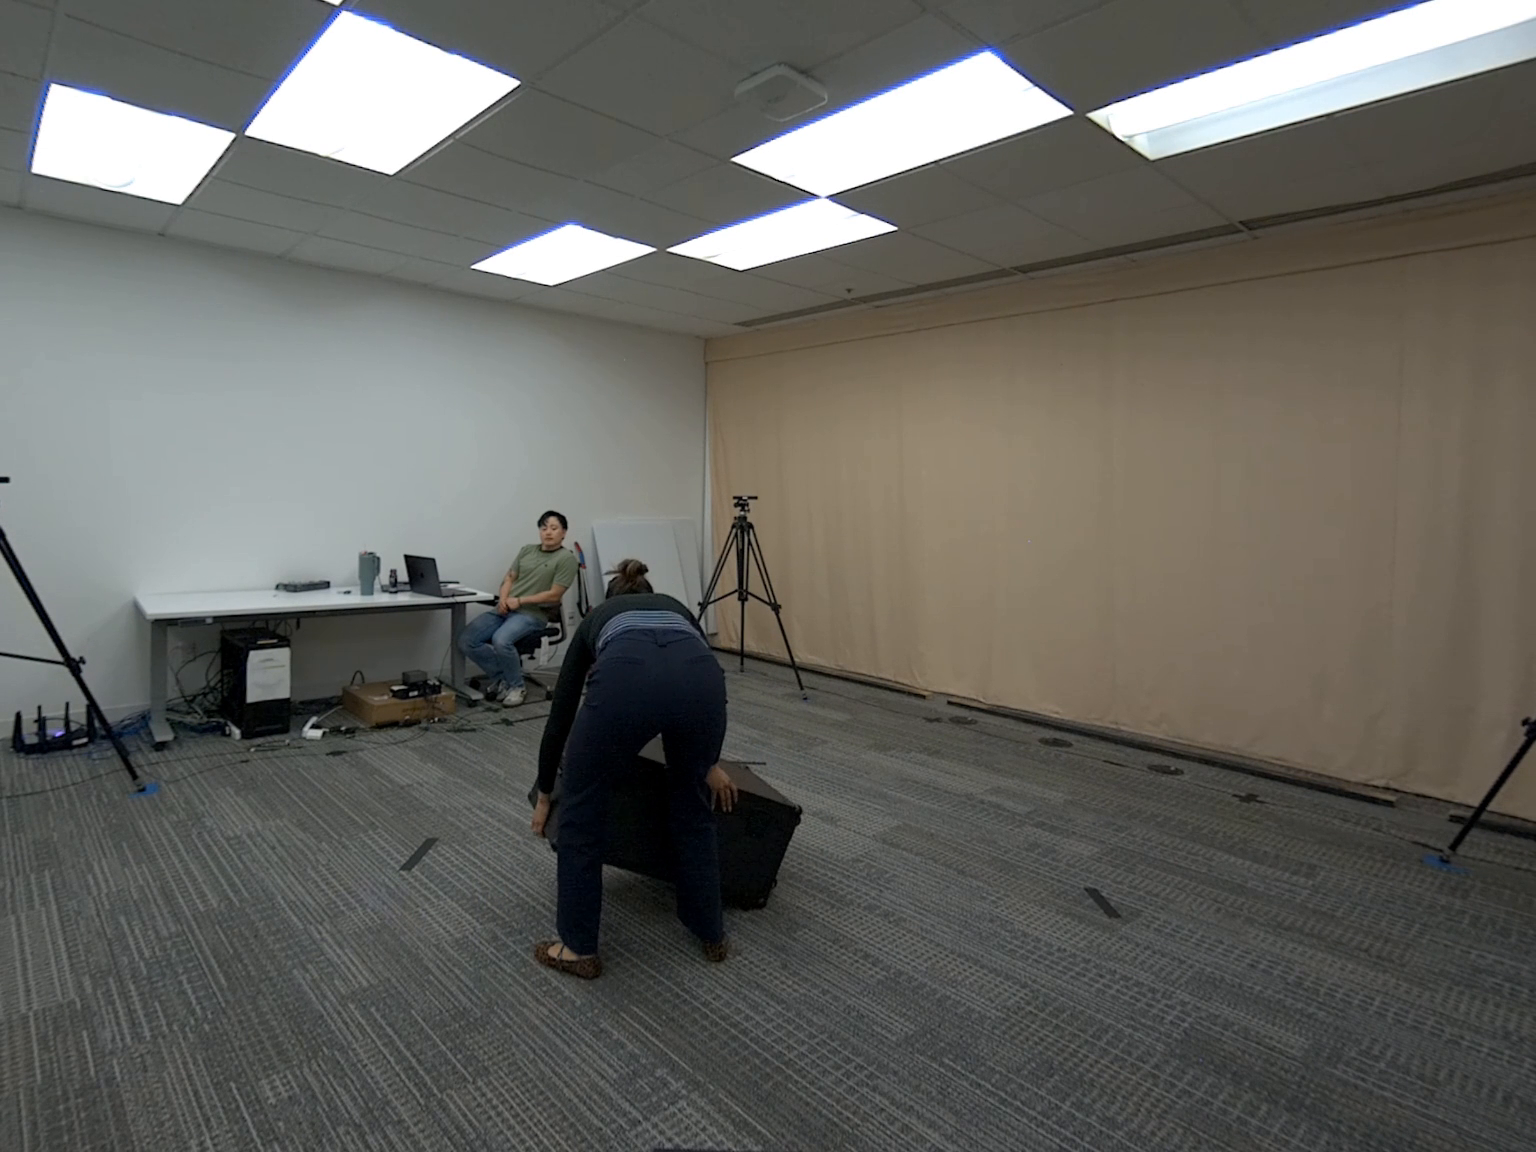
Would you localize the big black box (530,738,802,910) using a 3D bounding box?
[{"bbox_3d":[-0.398,0.798,2.940,0.843,0.397,0.531,25,-6,-22],"label":"big black box"}]
